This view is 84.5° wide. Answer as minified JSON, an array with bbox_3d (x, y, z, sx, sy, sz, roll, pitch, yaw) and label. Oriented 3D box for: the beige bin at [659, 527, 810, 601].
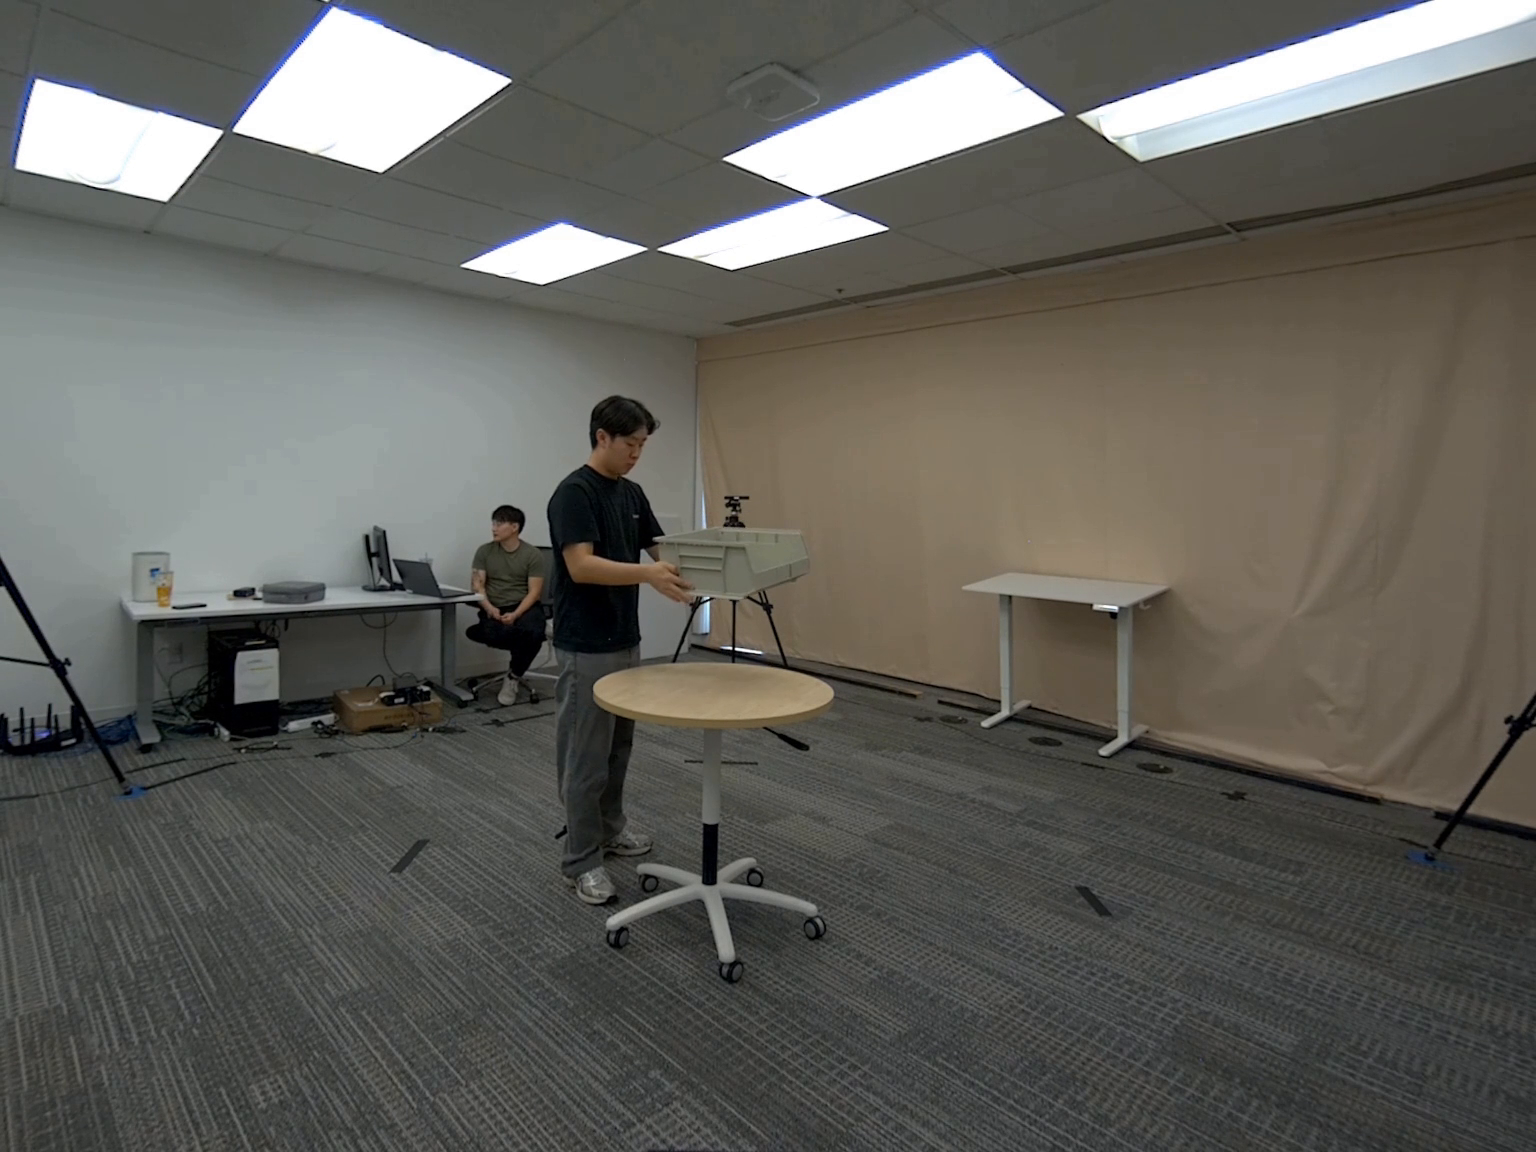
[{"bbox_3d":[-0.118,-0.055,2.838,0.385,0.188,0.416,2,9,27],"label":"beige bin"}]
